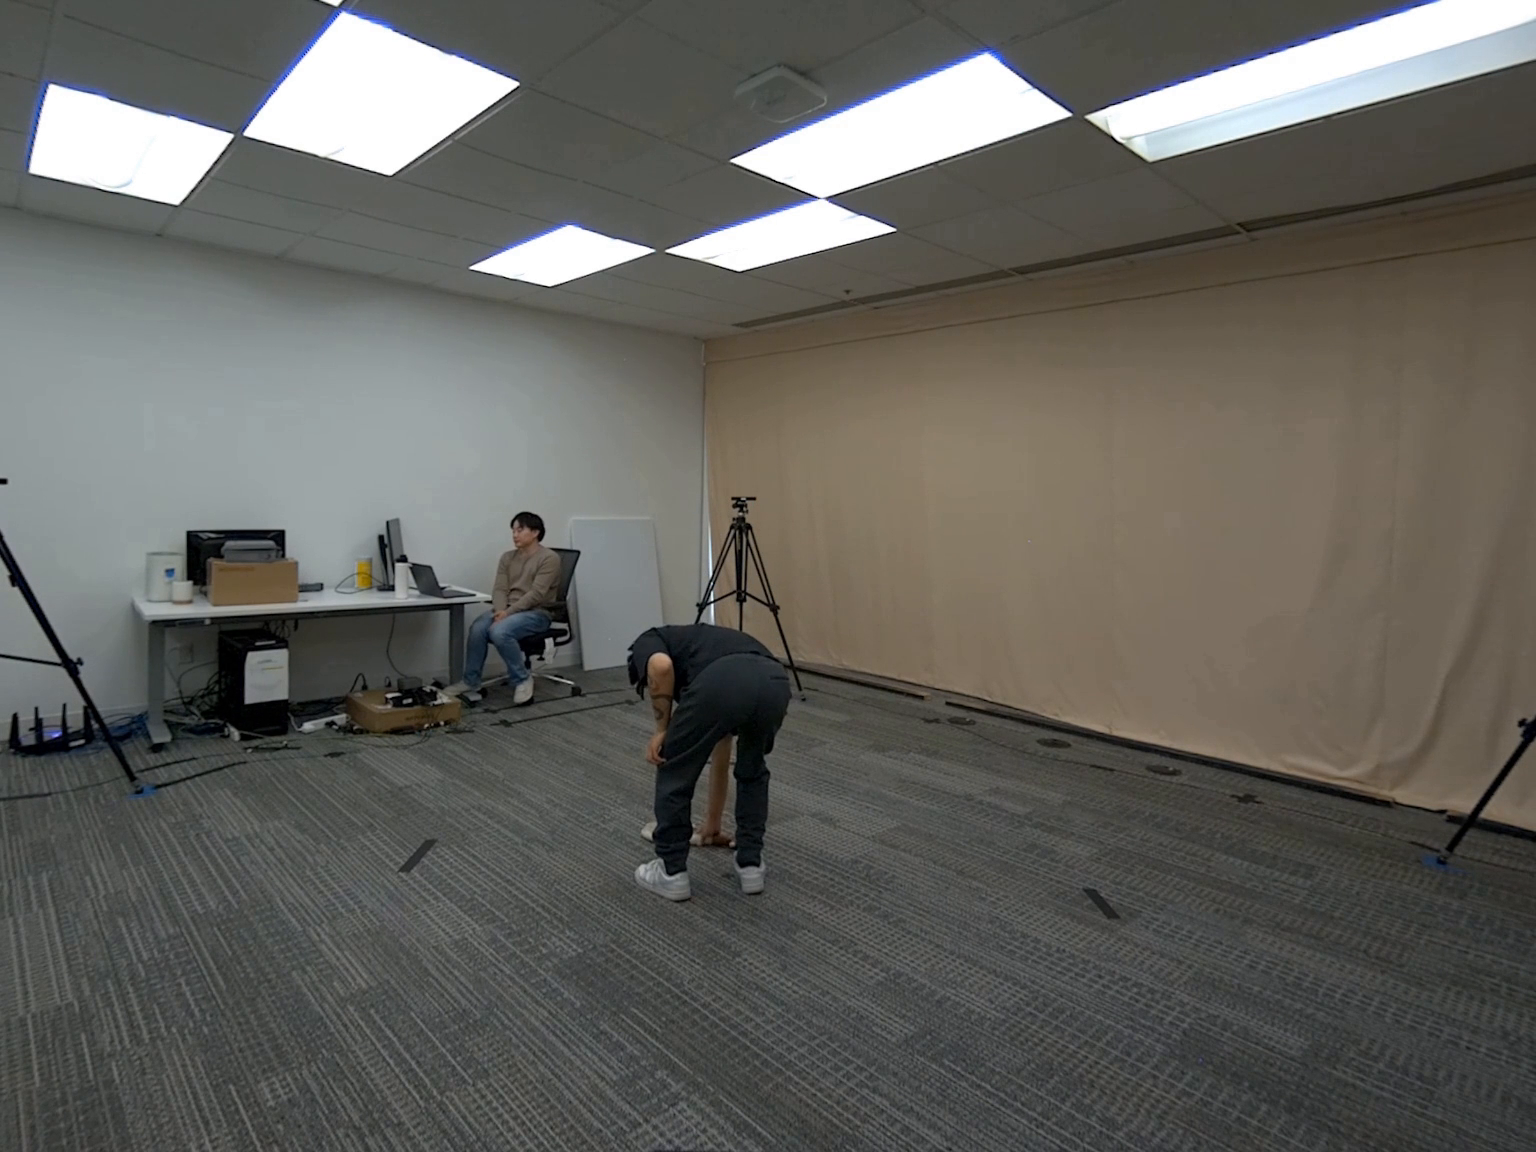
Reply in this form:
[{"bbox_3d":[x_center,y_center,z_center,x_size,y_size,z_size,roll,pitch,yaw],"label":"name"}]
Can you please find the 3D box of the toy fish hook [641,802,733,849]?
[{"bbox_3d":[-0.271,1.050,3.432,0.512,0.048,0.223,4,7,13],"label":"toy fish hook"}]
